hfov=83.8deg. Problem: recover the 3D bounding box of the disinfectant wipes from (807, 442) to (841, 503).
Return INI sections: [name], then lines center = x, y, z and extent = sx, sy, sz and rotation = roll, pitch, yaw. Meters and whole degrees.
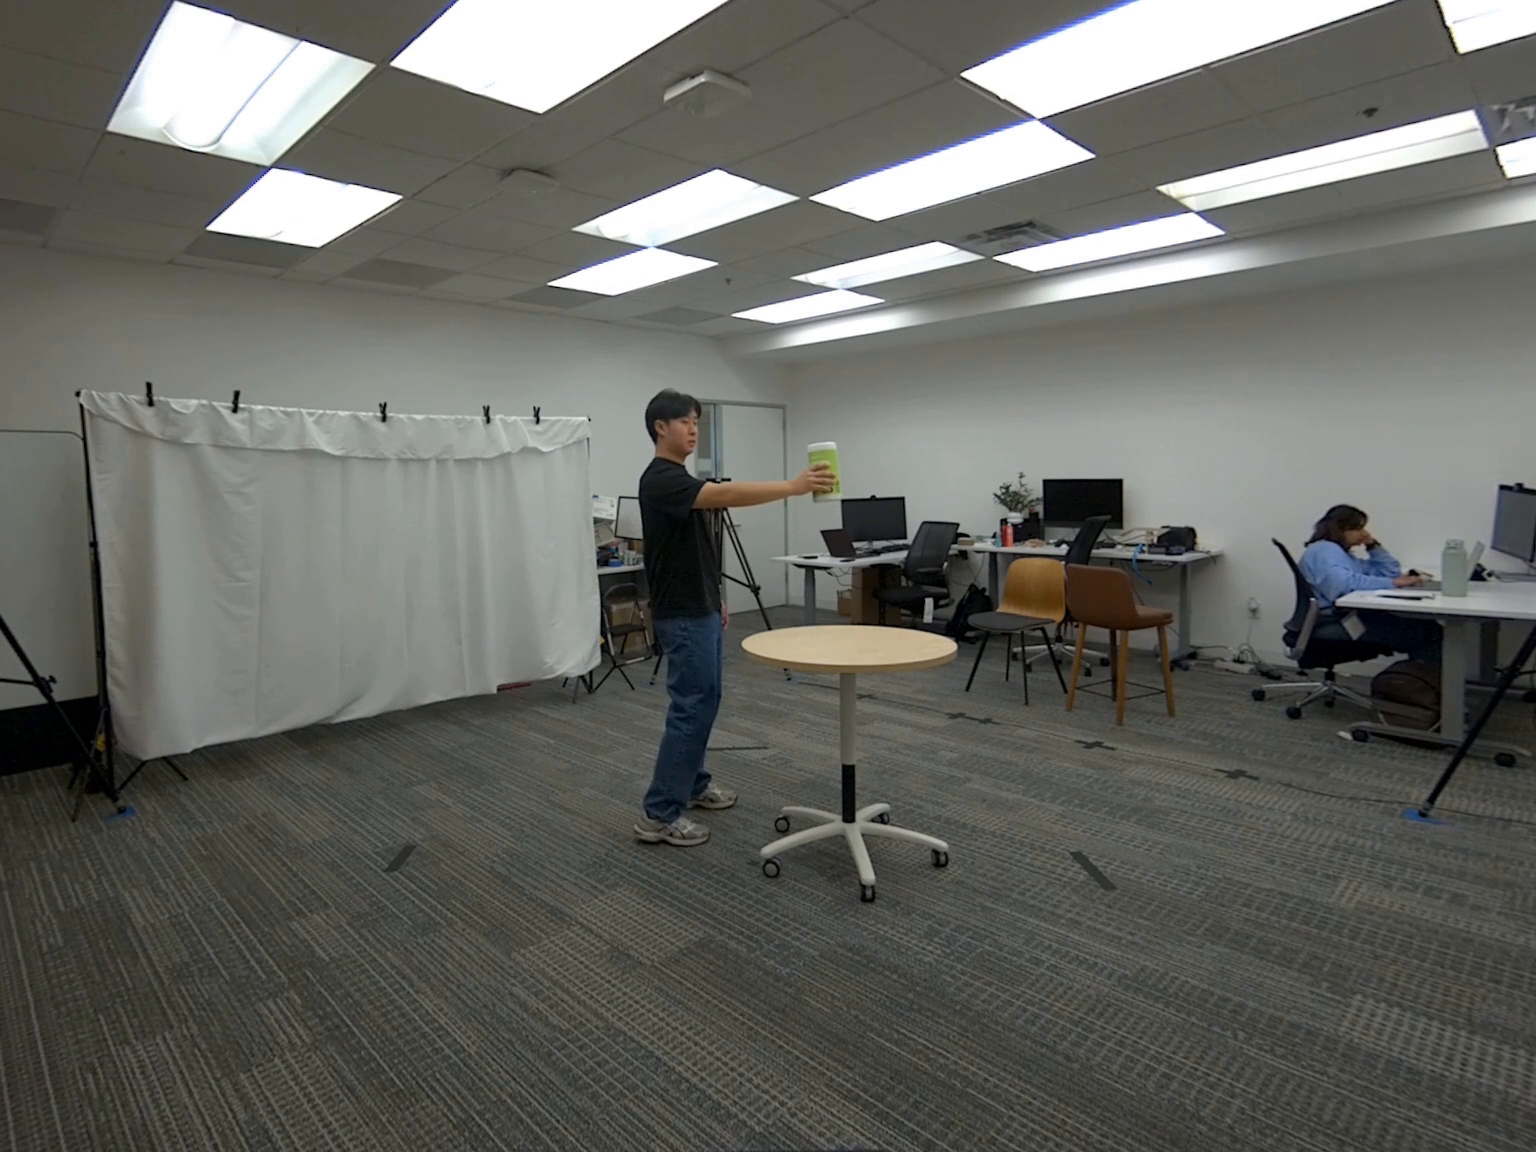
[disinfectant wipes]
center = 0.212, -0.385, 3.173
extent = 0.118, 0.217, 0.118
rotation = -6, 0, -2
